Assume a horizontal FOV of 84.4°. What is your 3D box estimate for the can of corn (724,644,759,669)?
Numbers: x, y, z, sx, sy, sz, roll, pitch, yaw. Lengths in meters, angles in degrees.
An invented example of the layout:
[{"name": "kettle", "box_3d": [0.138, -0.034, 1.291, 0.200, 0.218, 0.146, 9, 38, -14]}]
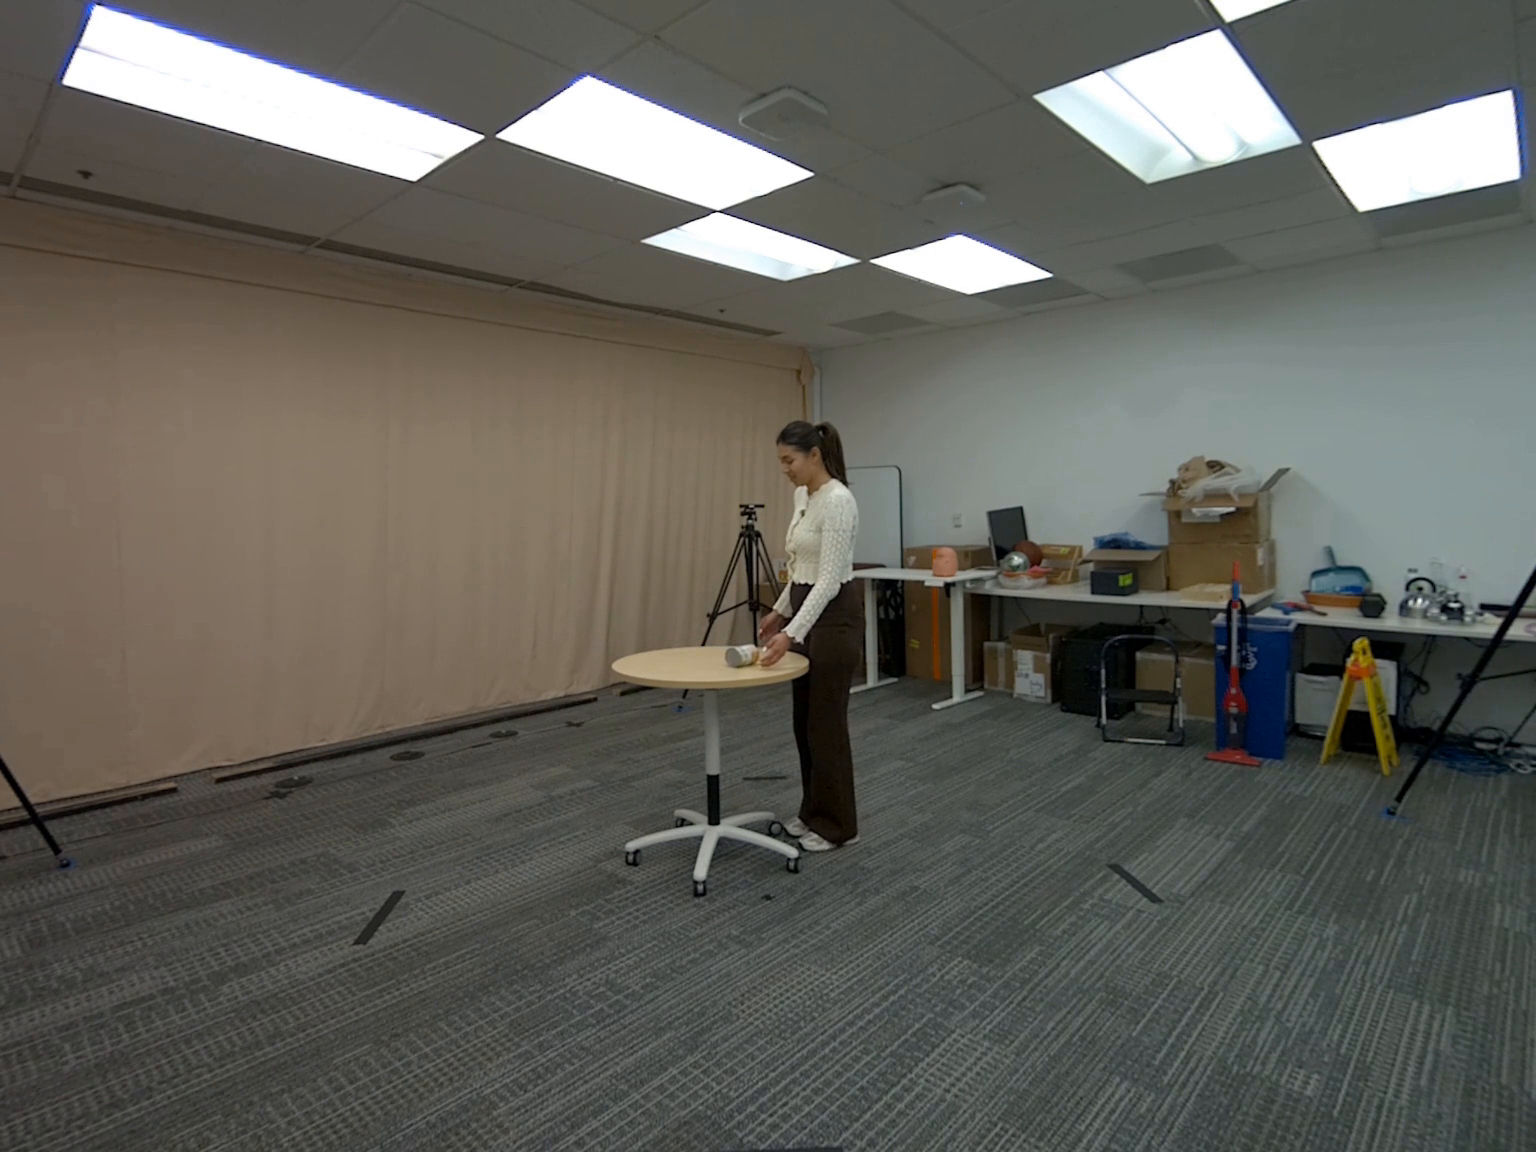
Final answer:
[{"name": "can of corn", "box_3d": [-0.102, 0.301, 3.188, 0.077, 0.074, 0.107, 3, 5, 44]}]
